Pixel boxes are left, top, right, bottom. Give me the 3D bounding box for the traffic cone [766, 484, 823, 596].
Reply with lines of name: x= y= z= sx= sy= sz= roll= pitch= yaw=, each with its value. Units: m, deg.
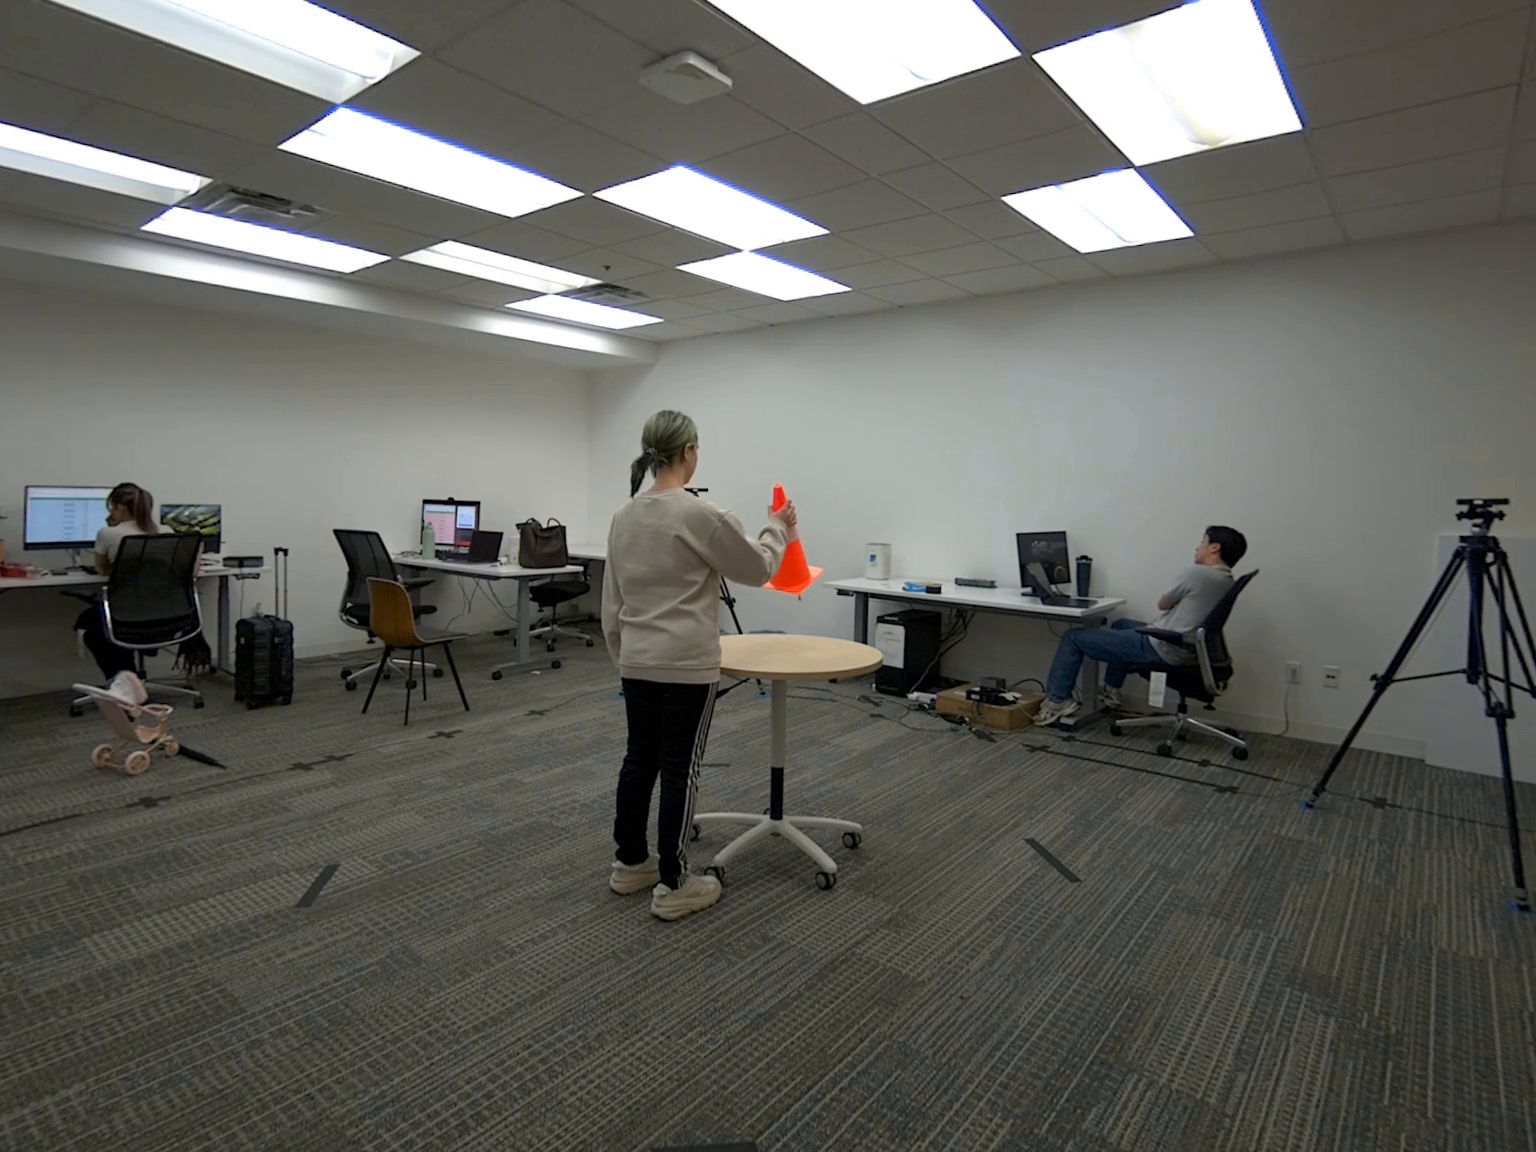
traffic cone: x=0.049 y=-0.154 z=3.104 sx=0.211 sy=0.374 sz=0.202 roll=9 pitch=31 yaw=29
